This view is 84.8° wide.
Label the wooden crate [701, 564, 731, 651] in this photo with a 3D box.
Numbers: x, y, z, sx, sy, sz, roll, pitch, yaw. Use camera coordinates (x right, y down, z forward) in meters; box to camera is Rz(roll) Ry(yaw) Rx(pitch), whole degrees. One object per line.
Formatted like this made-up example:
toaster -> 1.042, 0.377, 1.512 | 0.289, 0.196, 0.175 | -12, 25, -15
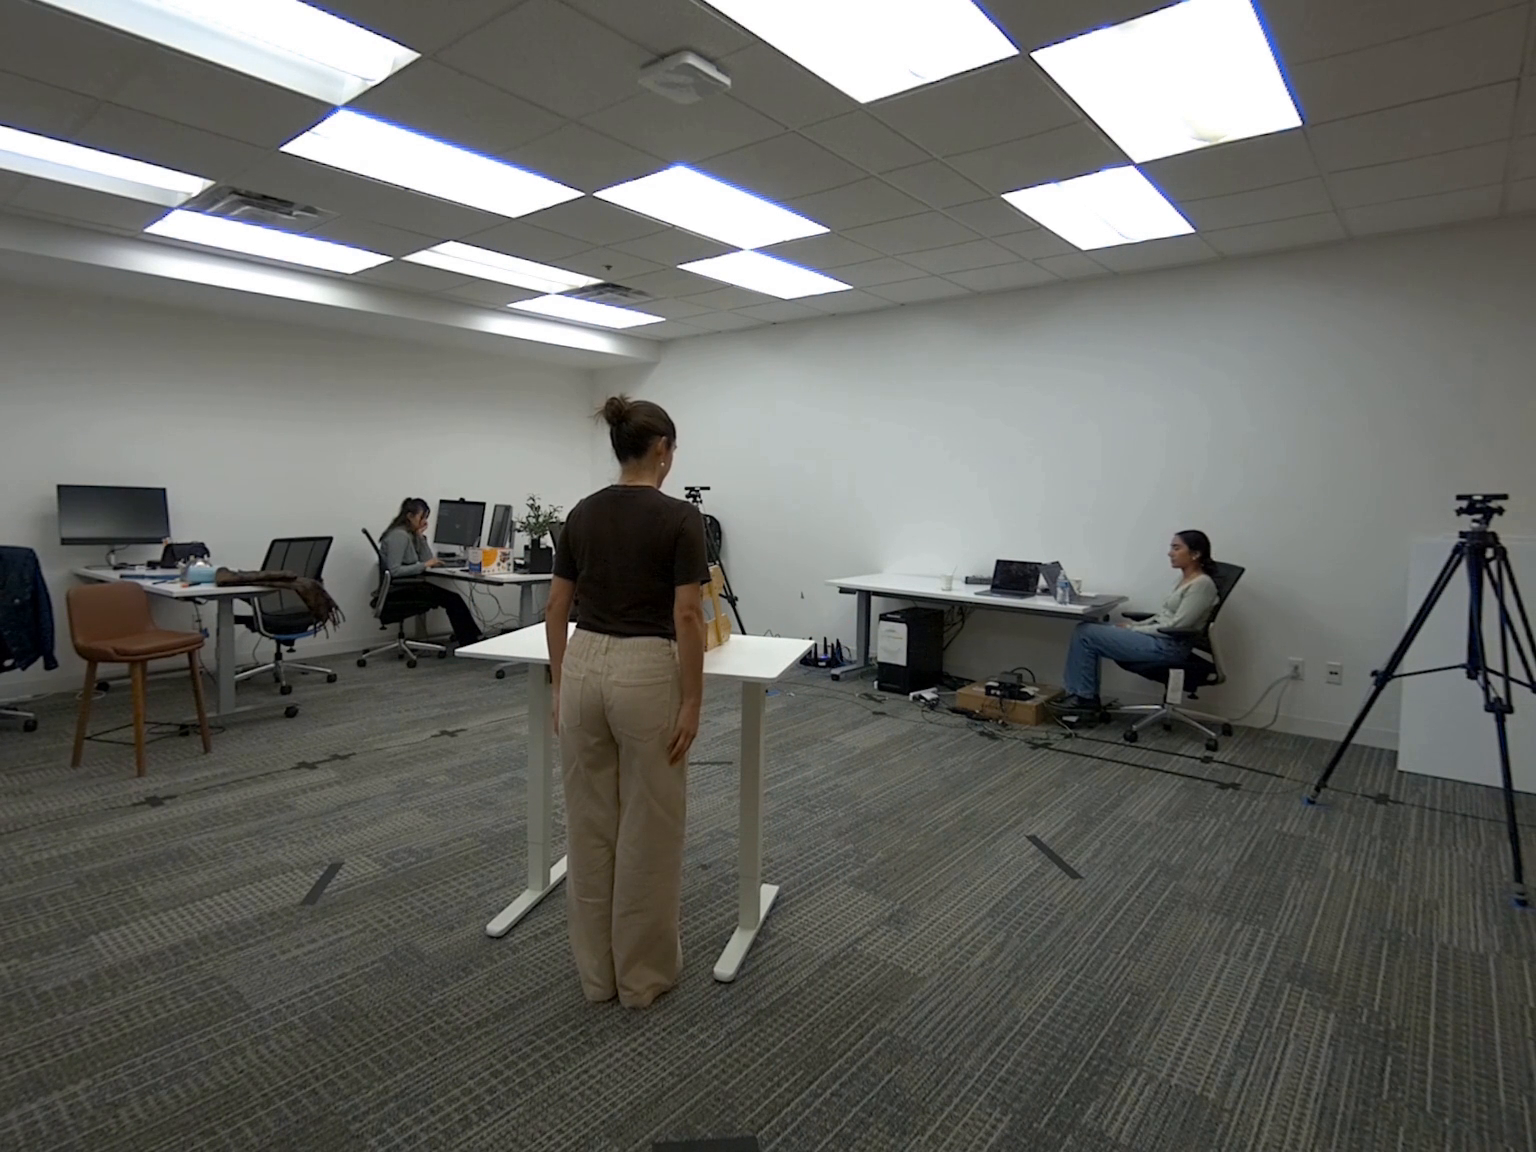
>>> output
wooden crate -> -0.316, 0.085, 2.759 | 0.330, 0.272, 0.298 | 2, 6, 16
